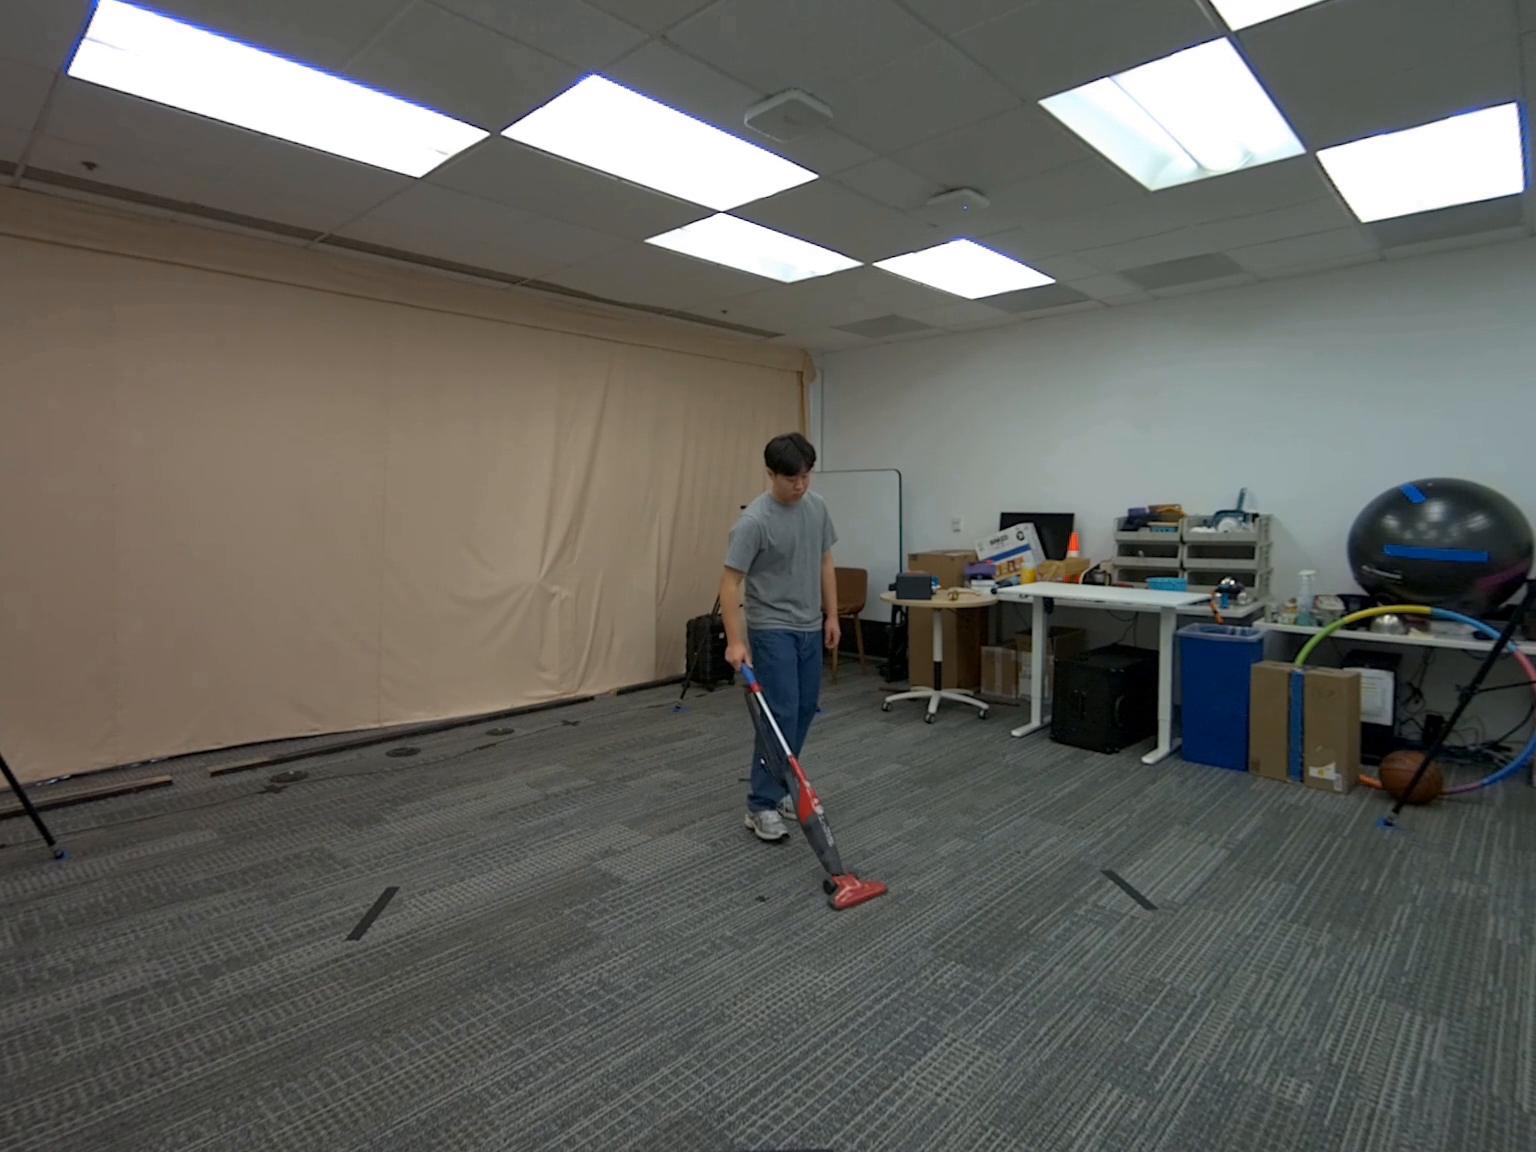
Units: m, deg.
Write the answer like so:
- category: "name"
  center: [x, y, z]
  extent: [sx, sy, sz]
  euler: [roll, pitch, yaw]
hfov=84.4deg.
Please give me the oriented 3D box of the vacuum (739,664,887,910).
- category: "vacuum"
  center: [0.083, 0.737, 3.290]
  extent: [0.245, 1.080, 0.144]
  euler: [1, -44, -38]
